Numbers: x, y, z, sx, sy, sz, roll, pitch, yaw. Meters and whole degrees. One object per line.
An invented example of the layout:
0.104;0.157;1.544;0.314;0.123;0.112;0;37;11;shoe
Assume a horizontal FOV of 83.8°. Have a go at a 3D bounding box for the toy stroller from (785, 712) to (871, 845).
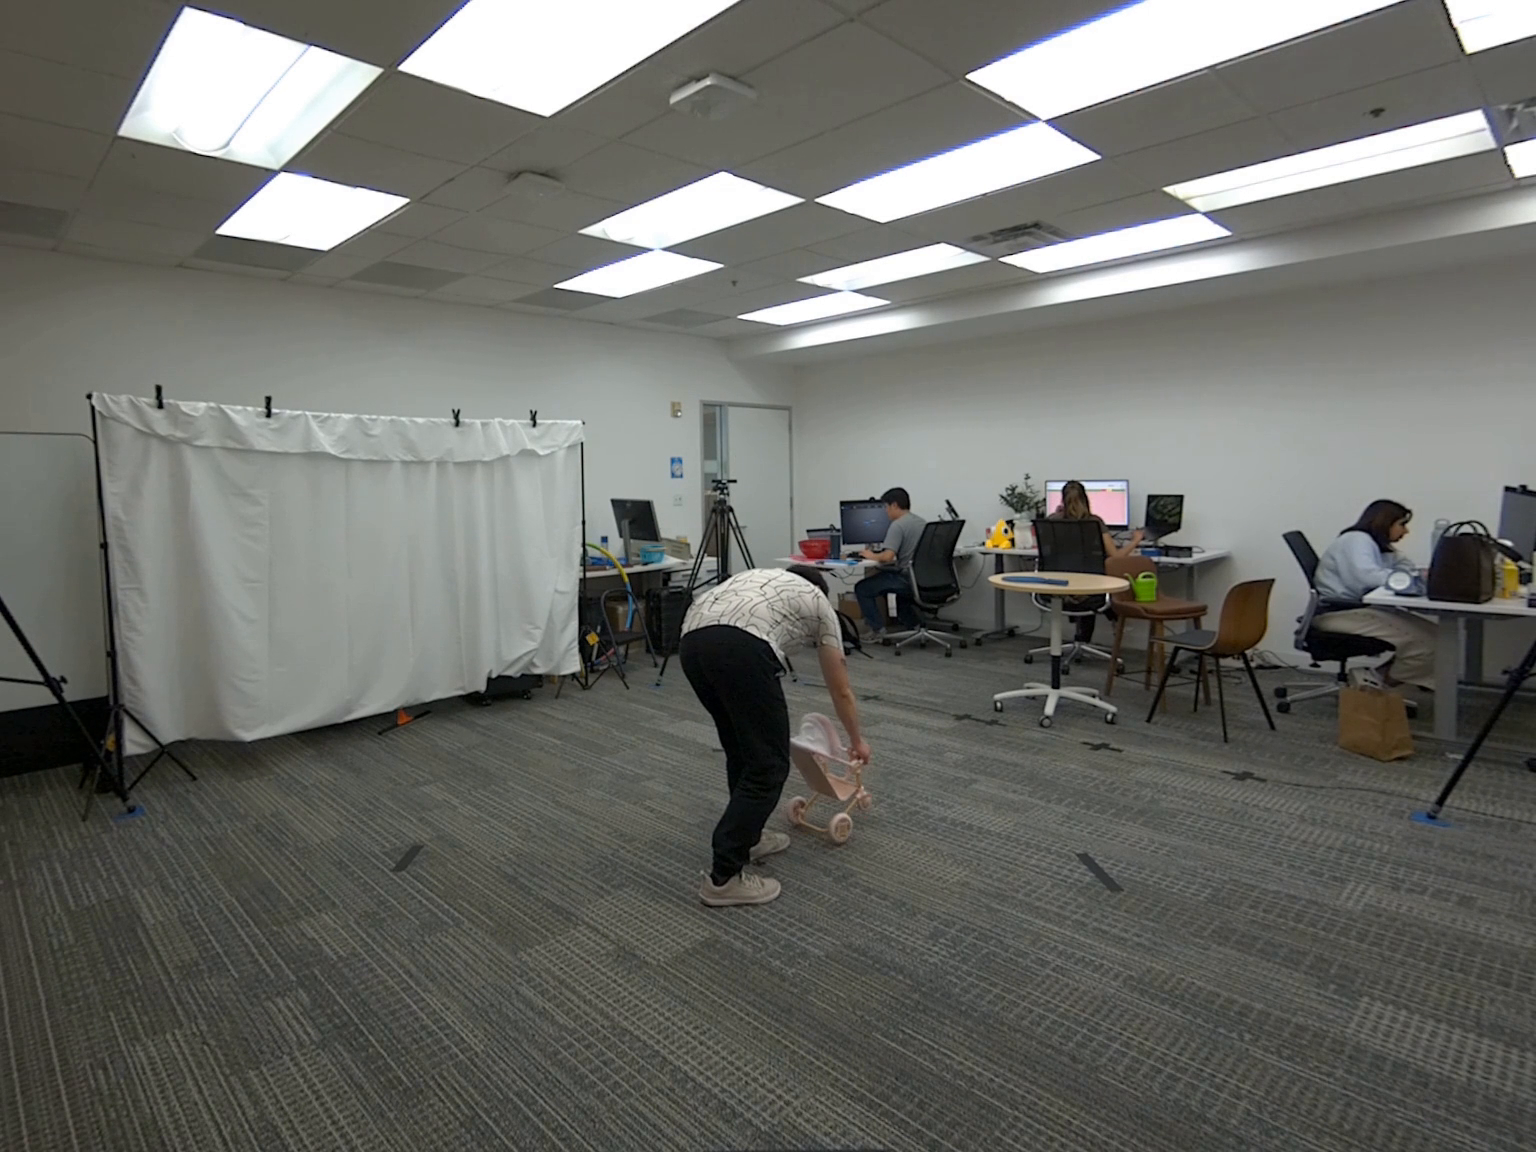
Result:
0.229;0.765;3.368;0.337;0.527;0.289;-27;16;-29;toy stroller
